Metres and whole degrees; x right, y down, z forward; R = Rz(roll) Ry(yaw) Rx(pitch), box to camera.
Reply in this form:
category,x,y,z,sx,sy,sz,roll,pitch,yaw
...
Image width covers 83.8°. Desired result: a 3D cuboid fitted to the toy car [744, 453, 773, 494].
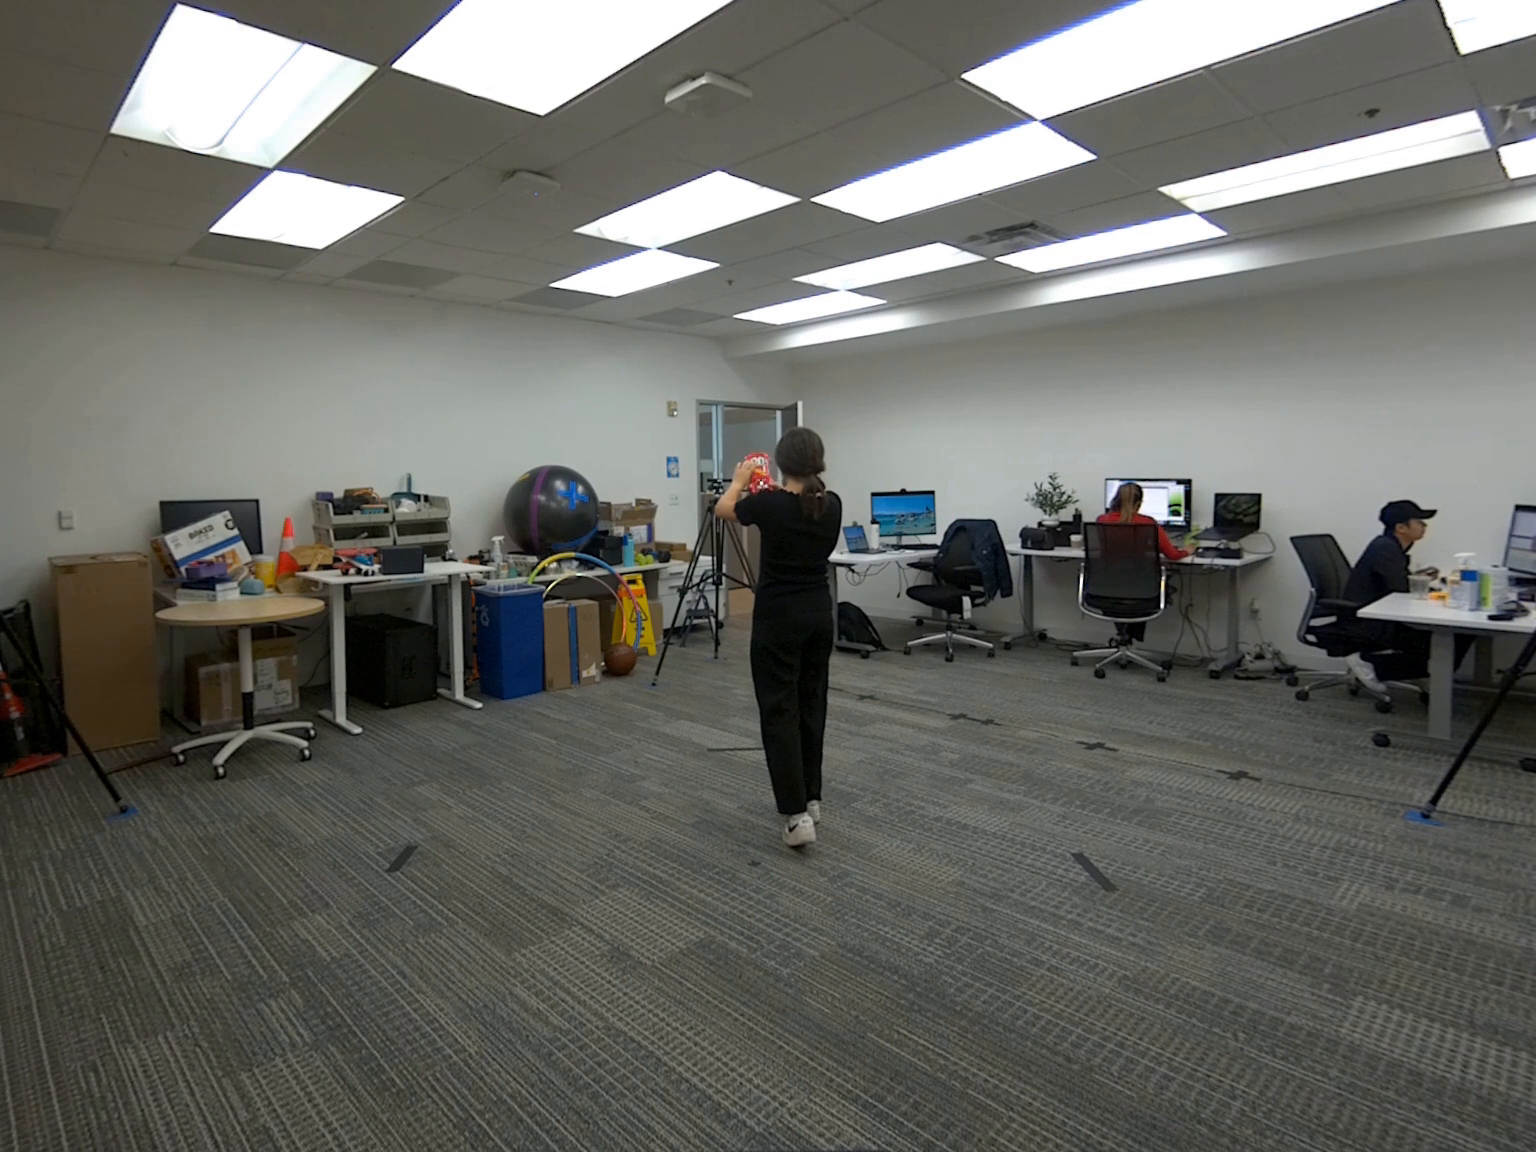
category,x,y,z,sx,sy,sz,roll,pitch,yaw
toy car,-0.034,-0.439,3.812,0.130,0.081,0.262,-7,48,-2
